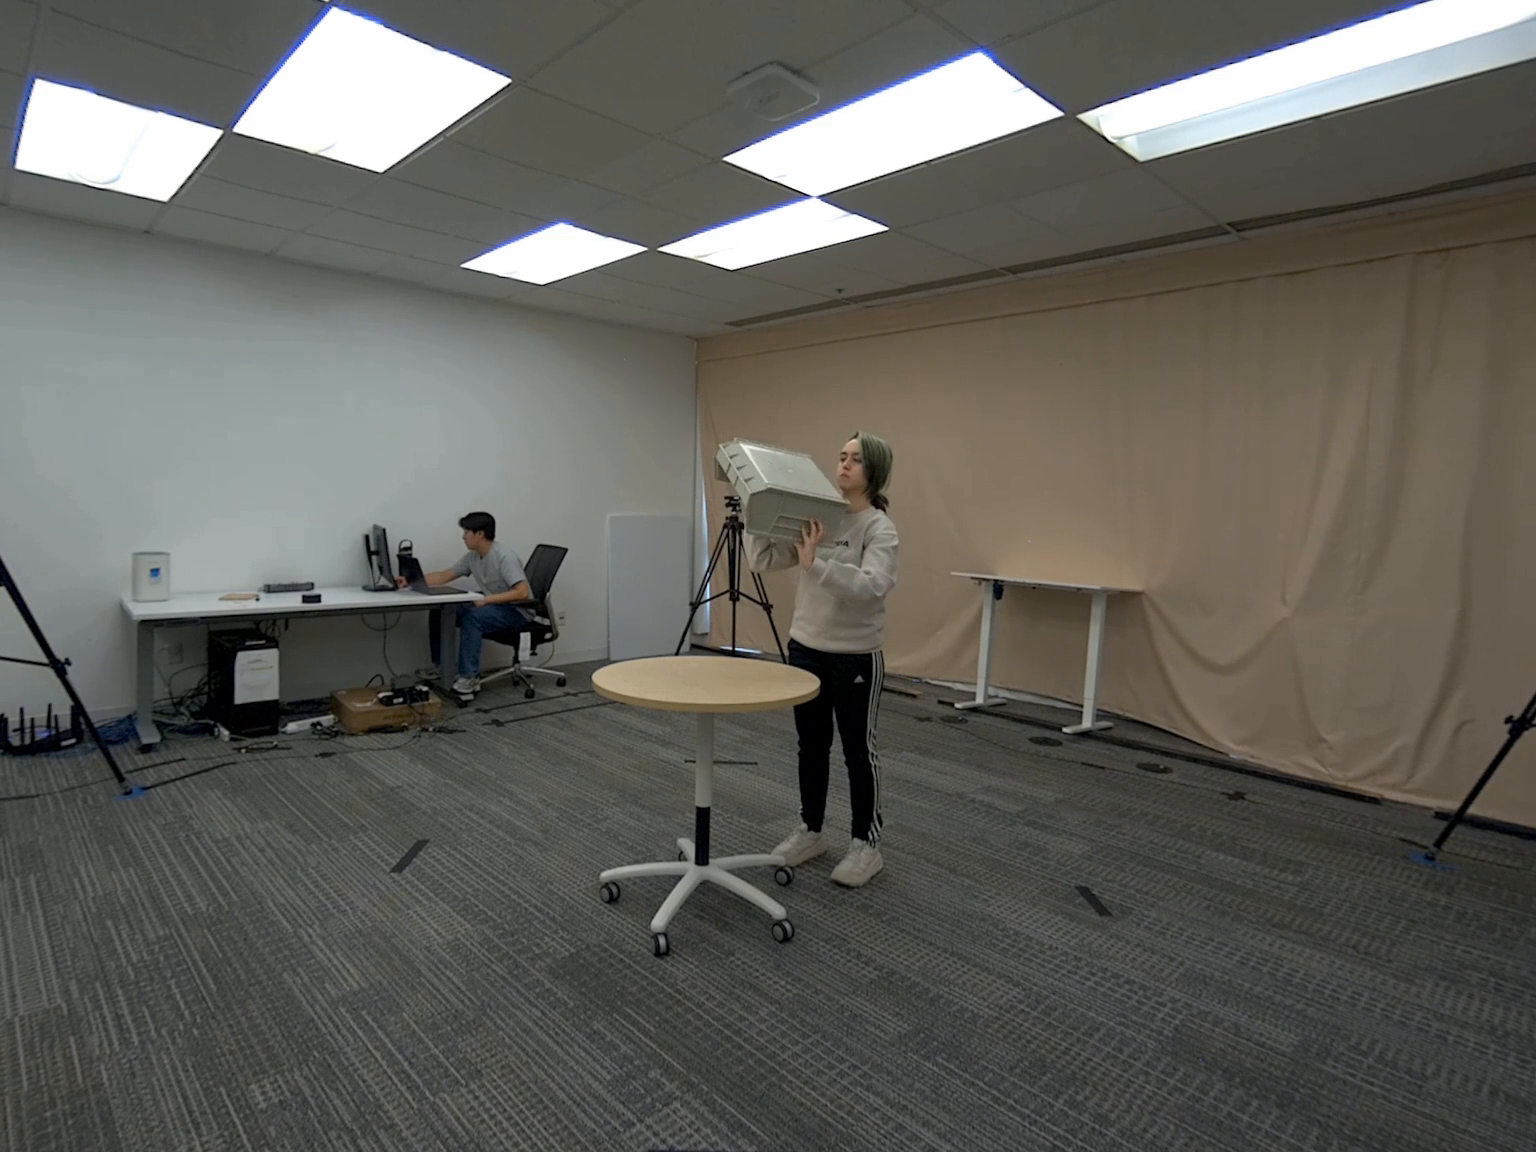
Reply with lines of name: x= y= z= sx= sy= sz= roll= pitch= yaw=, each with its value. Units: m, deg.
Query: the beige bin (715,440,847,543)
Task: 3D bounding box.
beige bin: x=0.026 y=-0.298 z=2.981 sx=0.370 sy=0.187 sz=0.434 roll=9 pitch=27 yaw=-23
